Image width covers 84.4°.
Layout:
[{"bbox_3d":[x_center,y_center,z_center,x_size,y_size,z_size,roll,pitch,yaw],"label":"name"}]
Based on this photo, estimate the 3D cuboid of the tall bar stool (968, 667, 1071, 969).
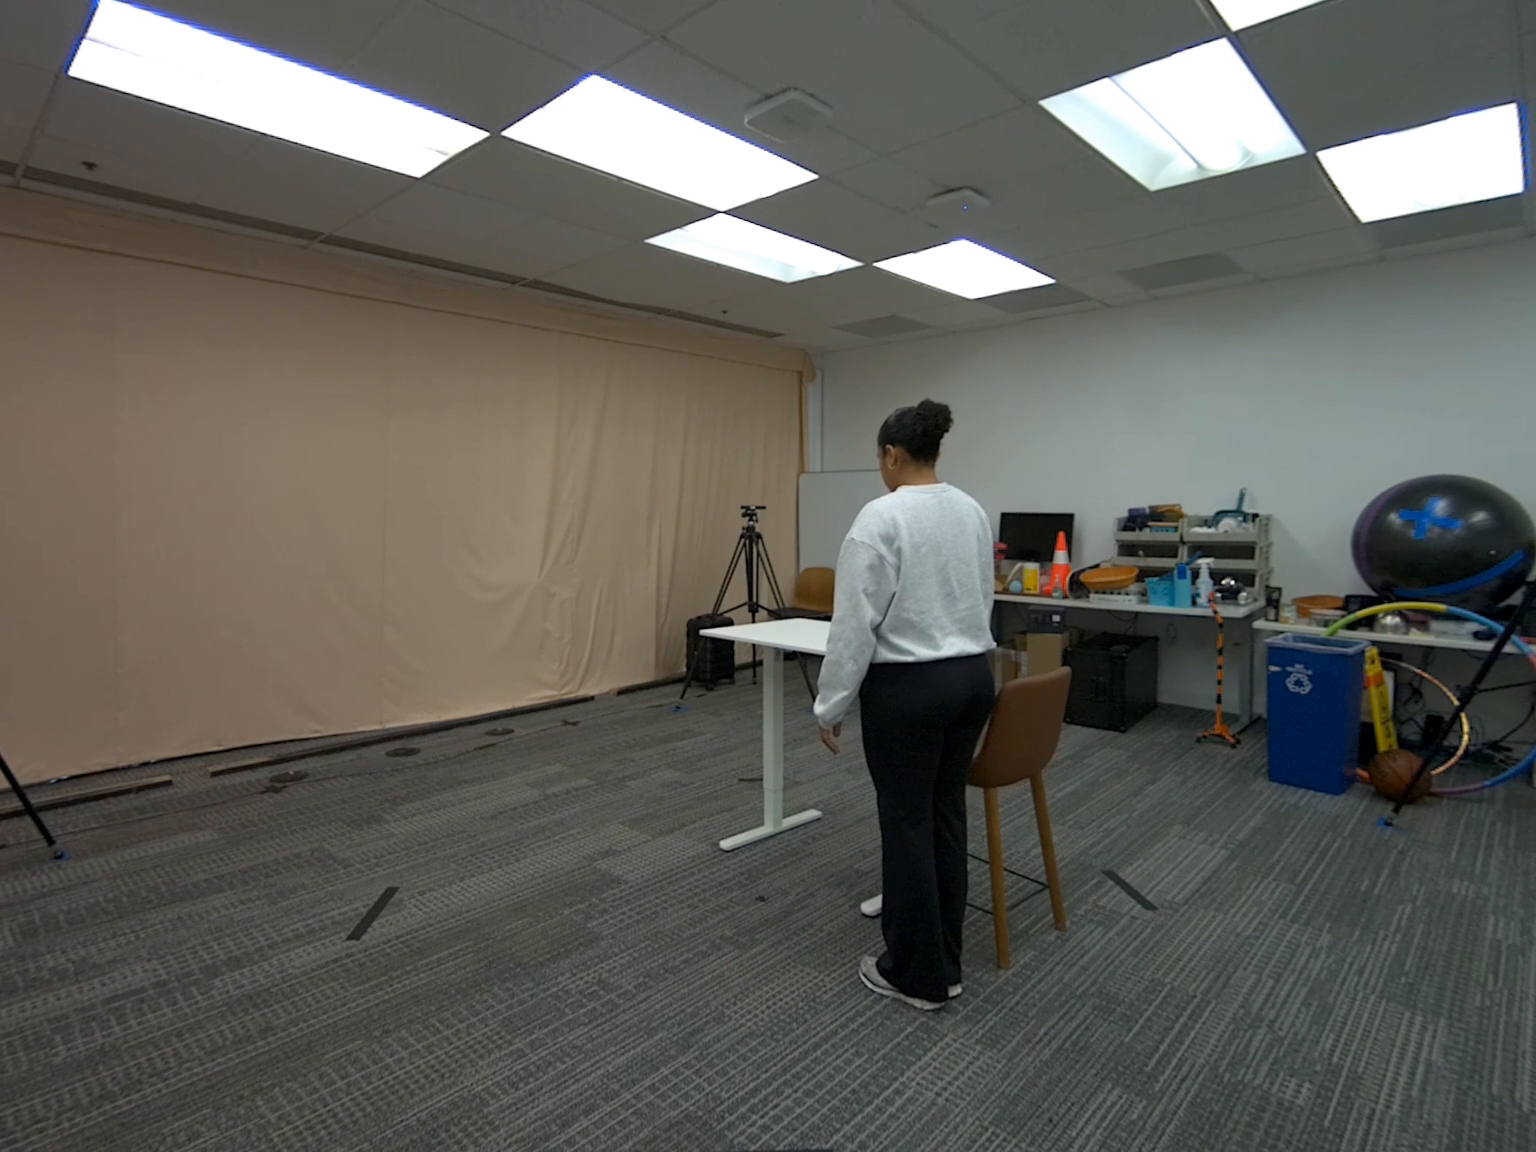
[{"bbox_3d":[0.700,0.722,2.784,0.443,0.887,0.484,-4,7,-42],"label":"tall bar stool"}]
